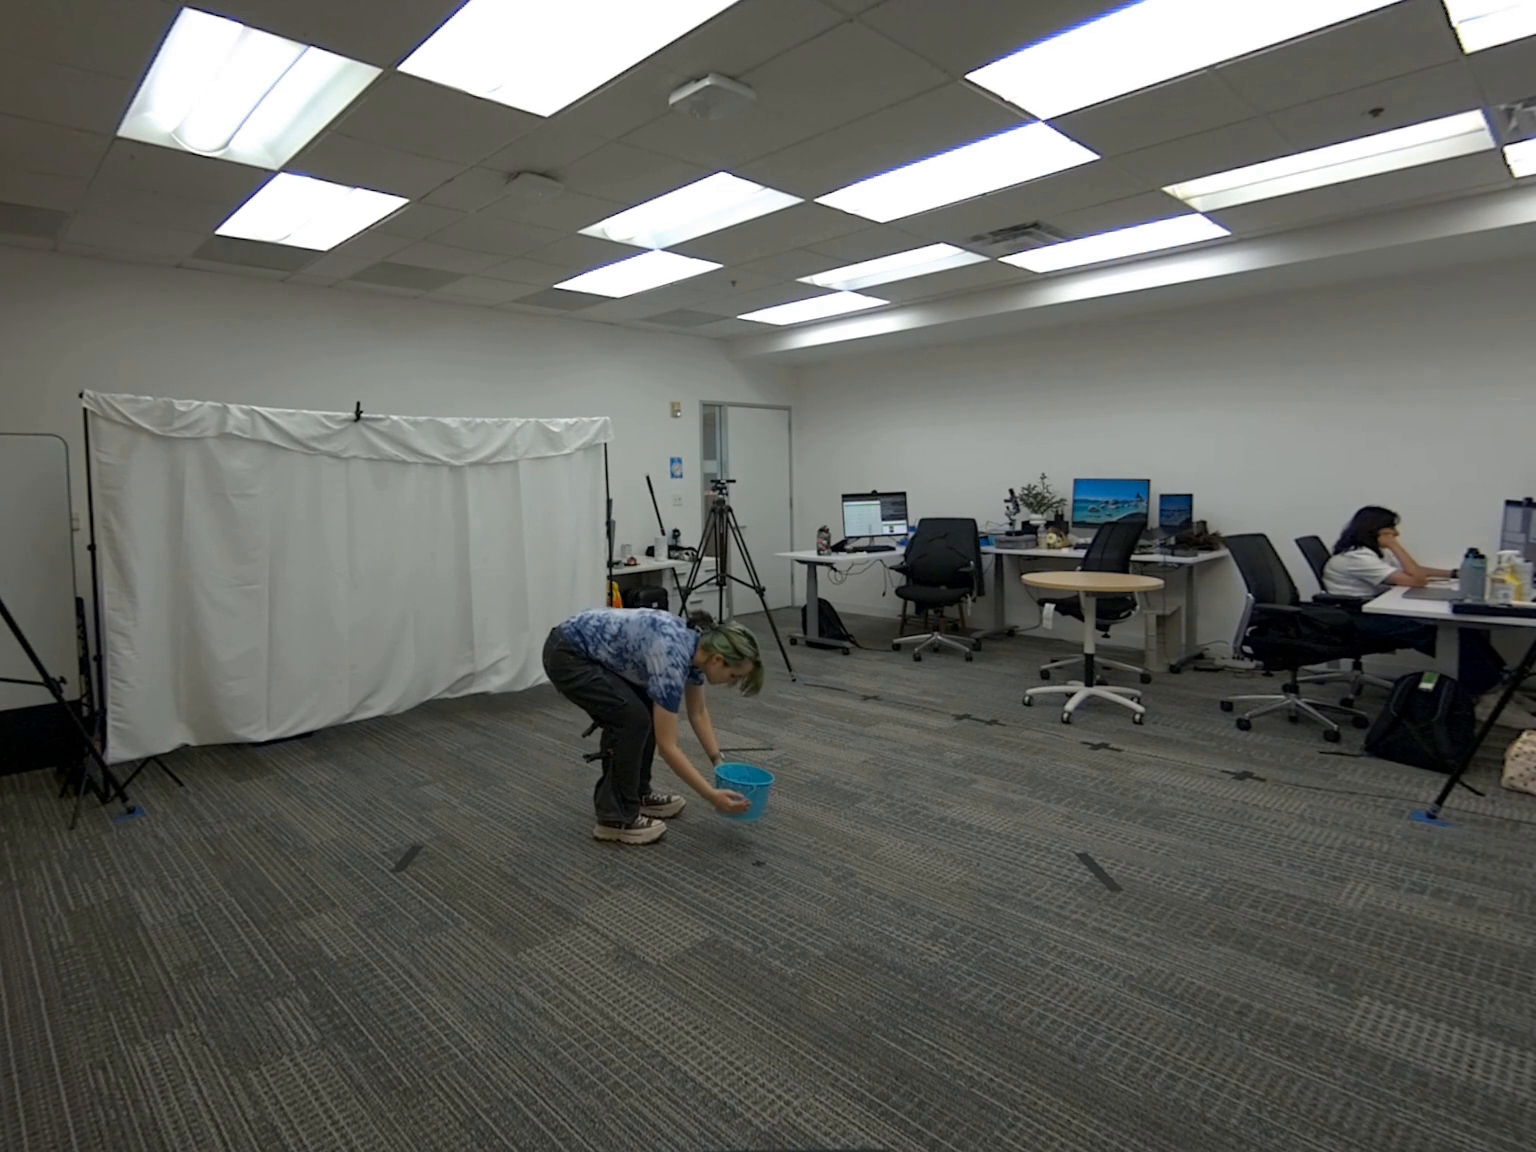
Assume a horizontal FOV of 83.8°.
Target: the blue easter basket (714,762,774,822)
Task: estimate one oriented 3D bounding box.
[{"bbox_3d":[-0.105,0.827,3.277,0.243,0.155,0.244,7,3,-2],"label":"blue easter basket"}]
